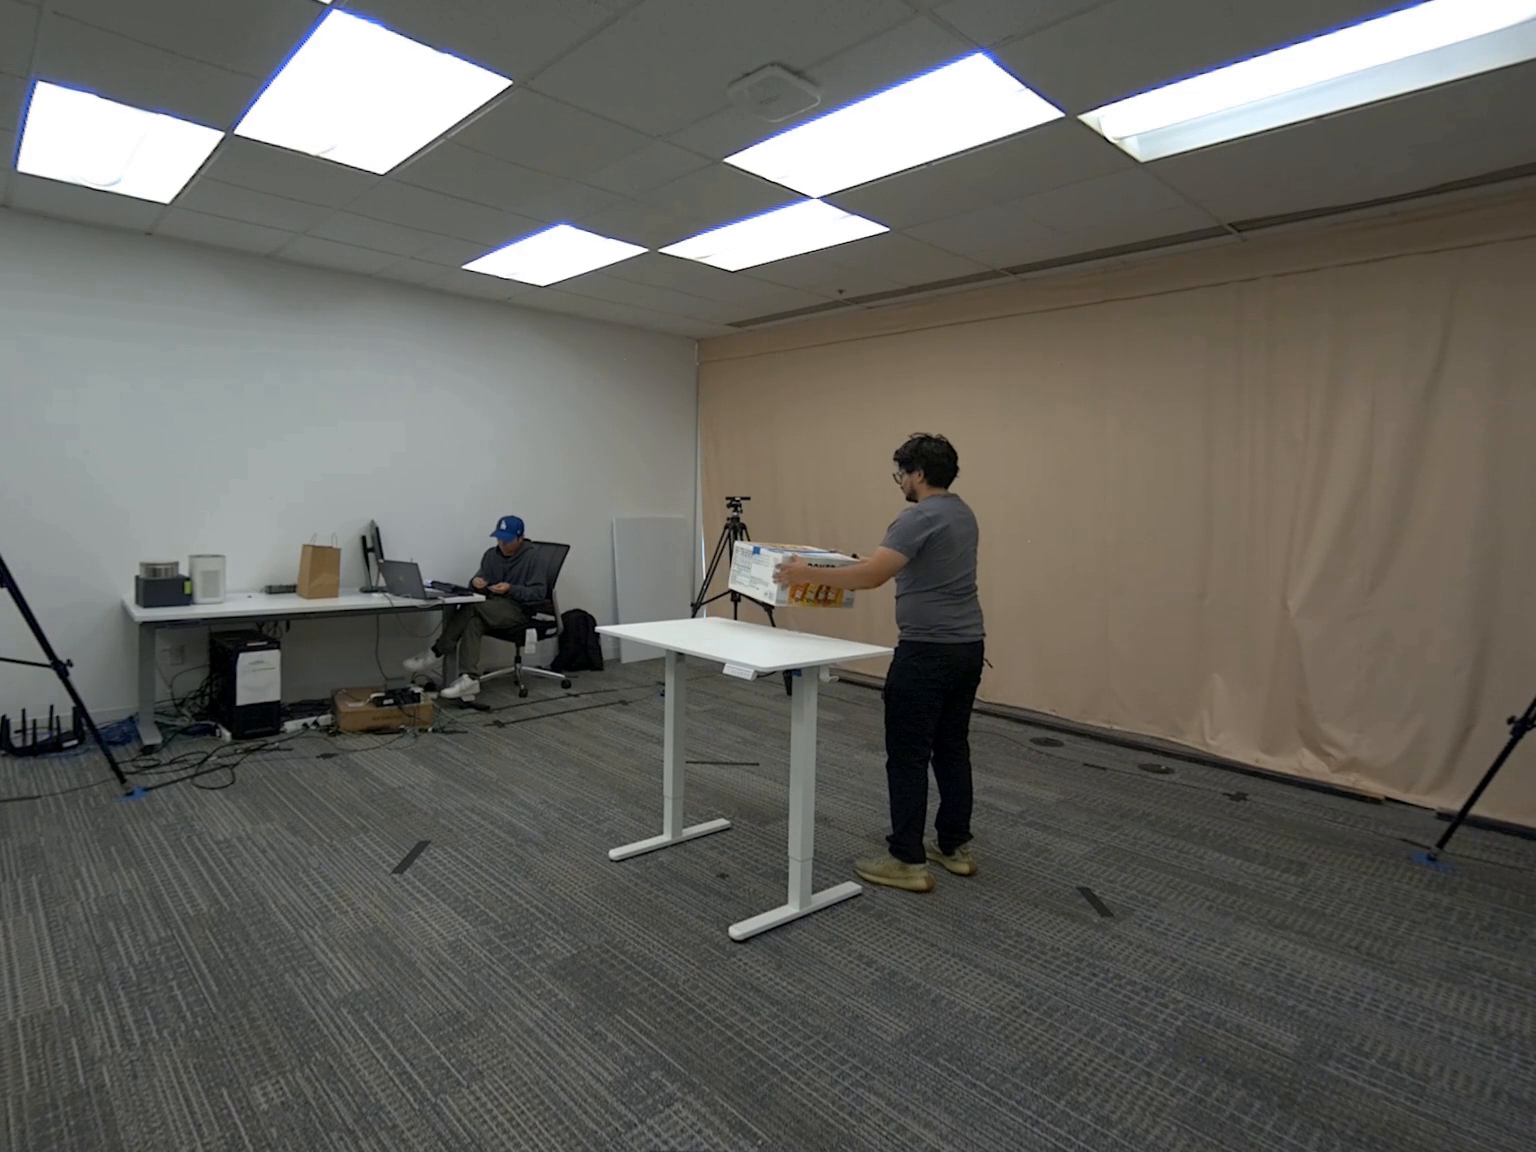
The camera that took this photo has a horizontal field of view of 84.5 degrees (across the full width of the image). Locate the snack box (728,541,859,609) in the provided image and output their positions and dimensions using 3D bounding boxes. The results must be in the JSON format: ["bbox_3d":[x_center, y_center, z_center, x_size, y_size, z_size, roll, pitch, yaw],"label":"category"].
[{"bbox_3d":[0.101,-0.004,3.465,0.396,0.205,0.350,3,8,-35],"label":"snack box"}]
